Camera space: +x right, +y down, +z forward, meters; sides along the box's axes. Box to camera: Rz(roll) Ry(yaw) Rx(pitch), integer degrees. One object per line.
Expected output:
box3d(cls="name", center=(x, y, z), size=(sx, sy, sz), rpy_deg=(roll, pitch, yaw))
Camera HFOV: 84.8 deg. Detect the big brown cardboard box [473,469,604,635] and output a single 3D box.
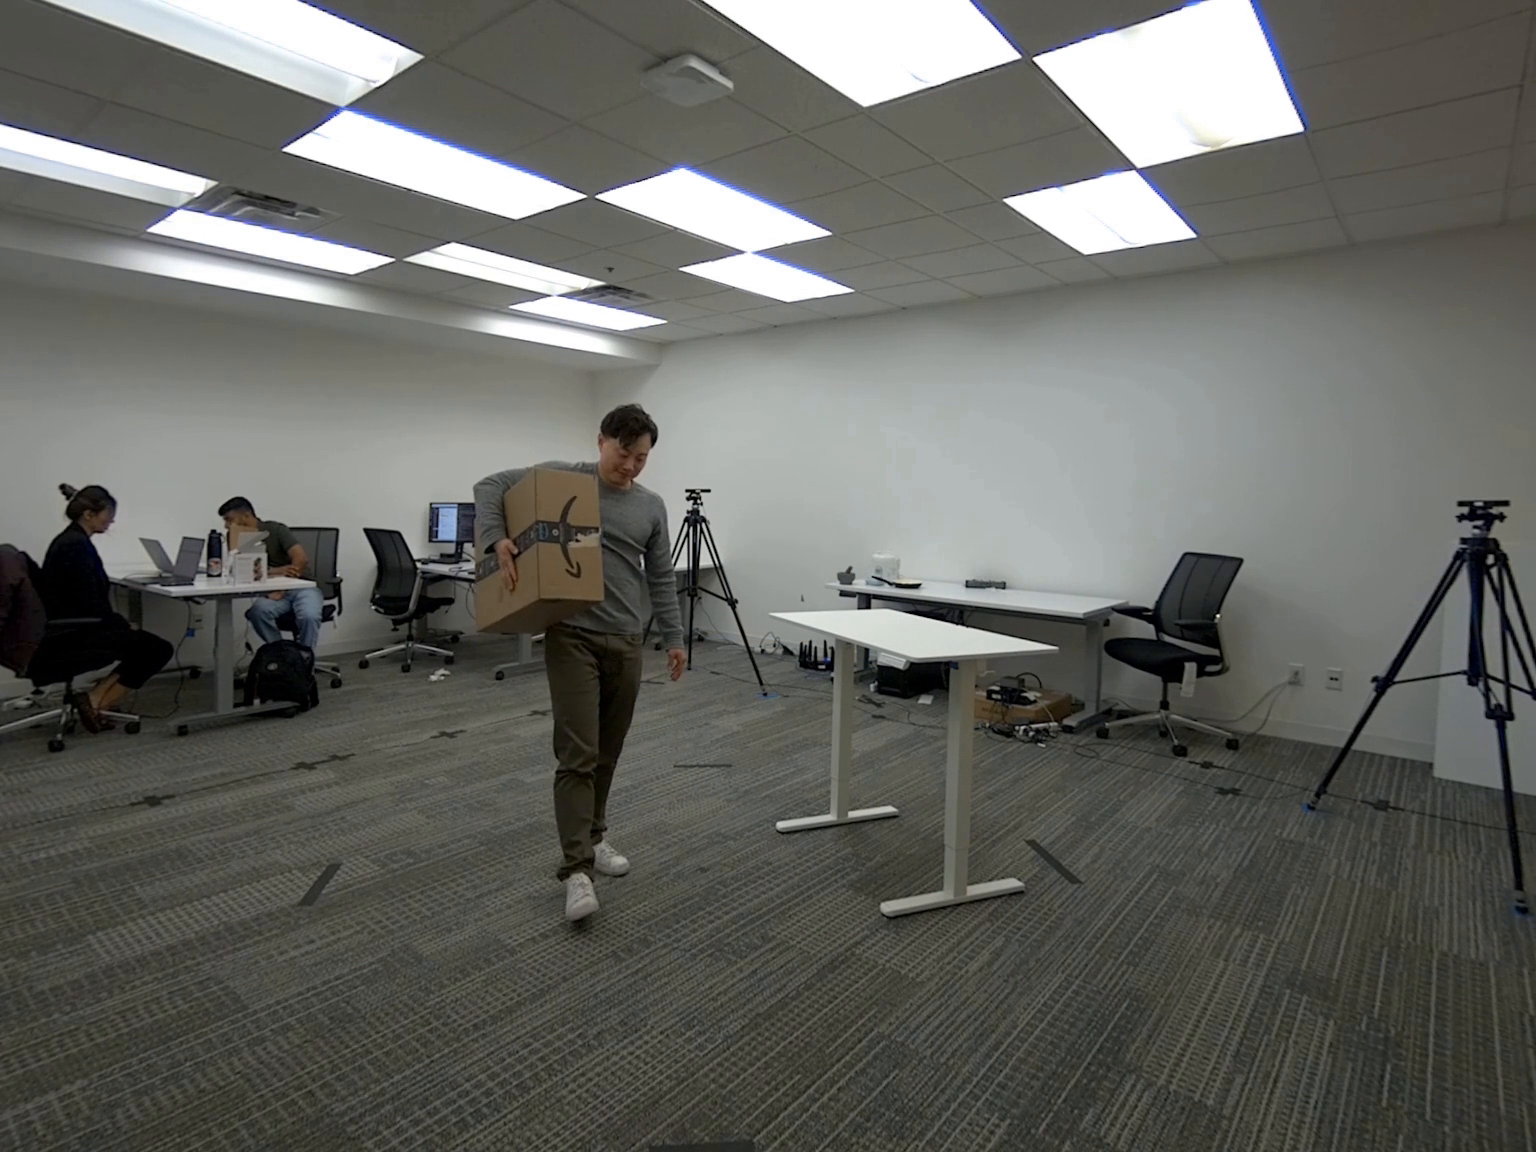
box3d(cls="big brown cardboard box", center=(-0.792, -0.059, 2.834), size=(0.226, 0.424, 0.599), rpy_deg=(5, -16, -34))
